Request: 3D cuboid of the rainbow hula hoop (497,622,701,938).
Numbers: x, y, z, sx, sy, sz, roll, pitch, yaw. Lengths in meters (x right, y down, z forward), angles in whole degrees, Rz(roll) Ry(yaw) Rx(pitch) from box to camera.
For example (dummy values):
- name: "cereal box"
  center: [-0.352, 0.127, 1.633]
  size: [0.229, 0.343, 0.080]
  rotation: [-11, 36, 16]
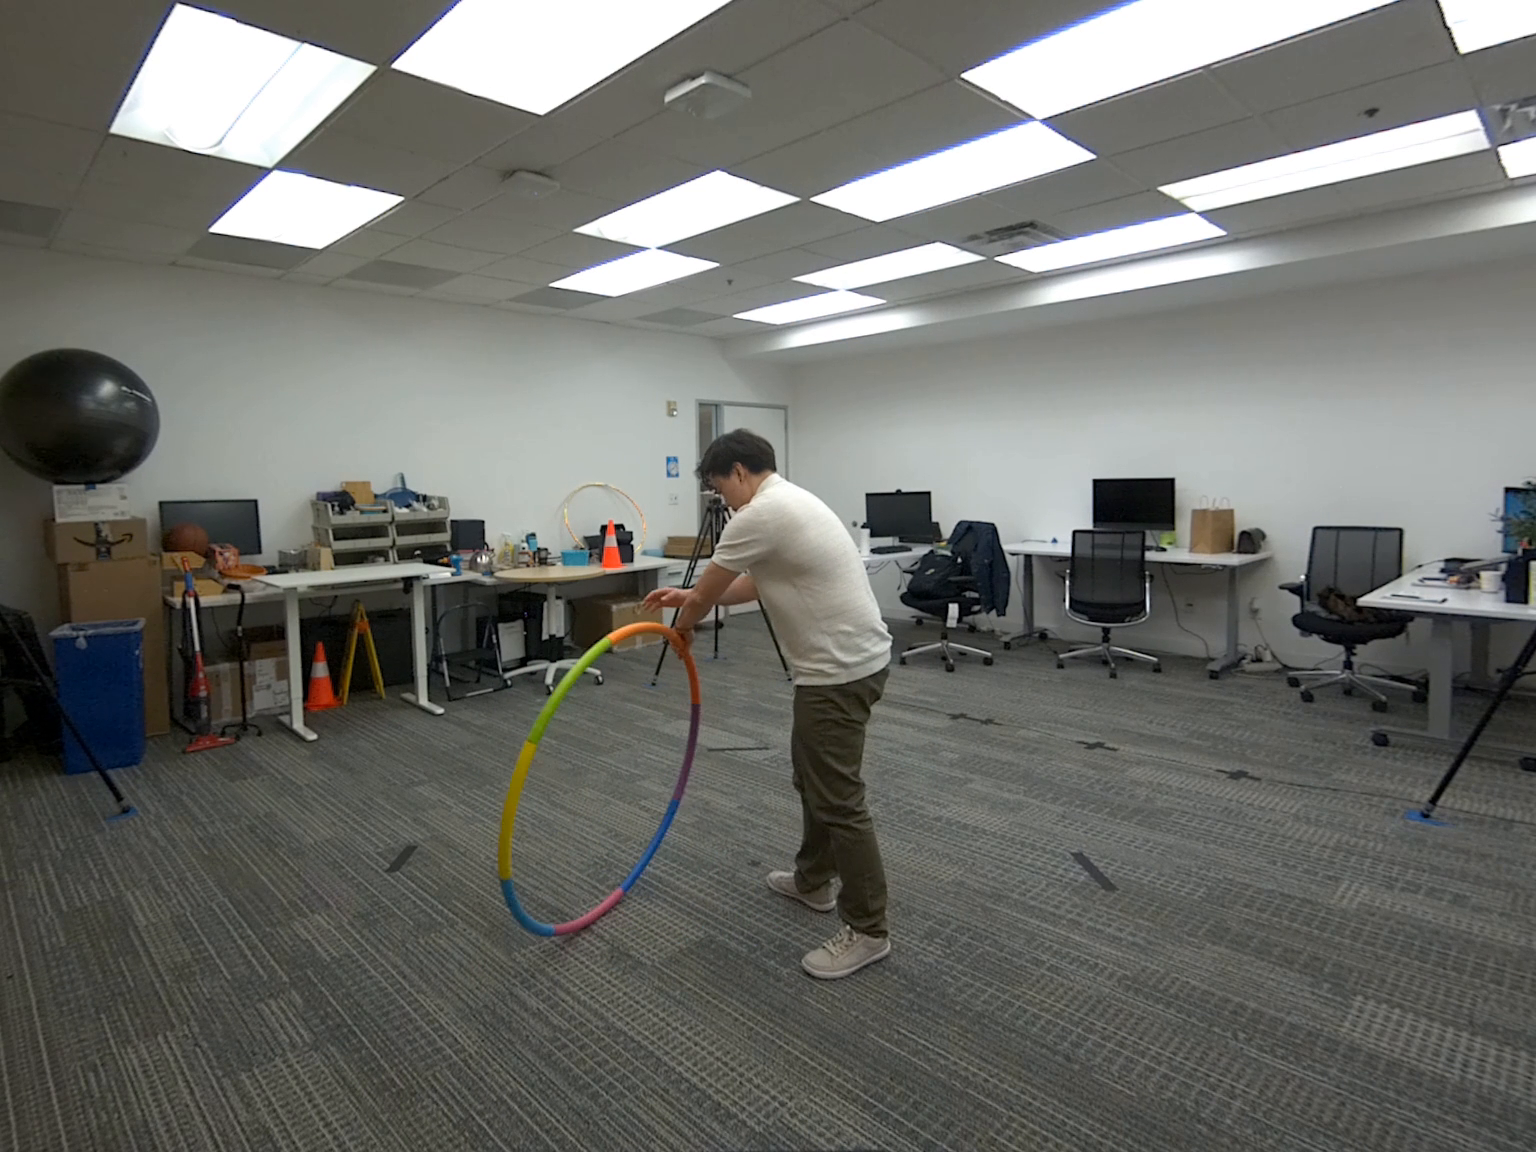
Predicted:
- name: "rainbow hula hoop"
  center: [-0.470, 0.620, 2.674]
  size: [0.036, 0.972, 0.959]
  rotation: [13, 10, 24]
